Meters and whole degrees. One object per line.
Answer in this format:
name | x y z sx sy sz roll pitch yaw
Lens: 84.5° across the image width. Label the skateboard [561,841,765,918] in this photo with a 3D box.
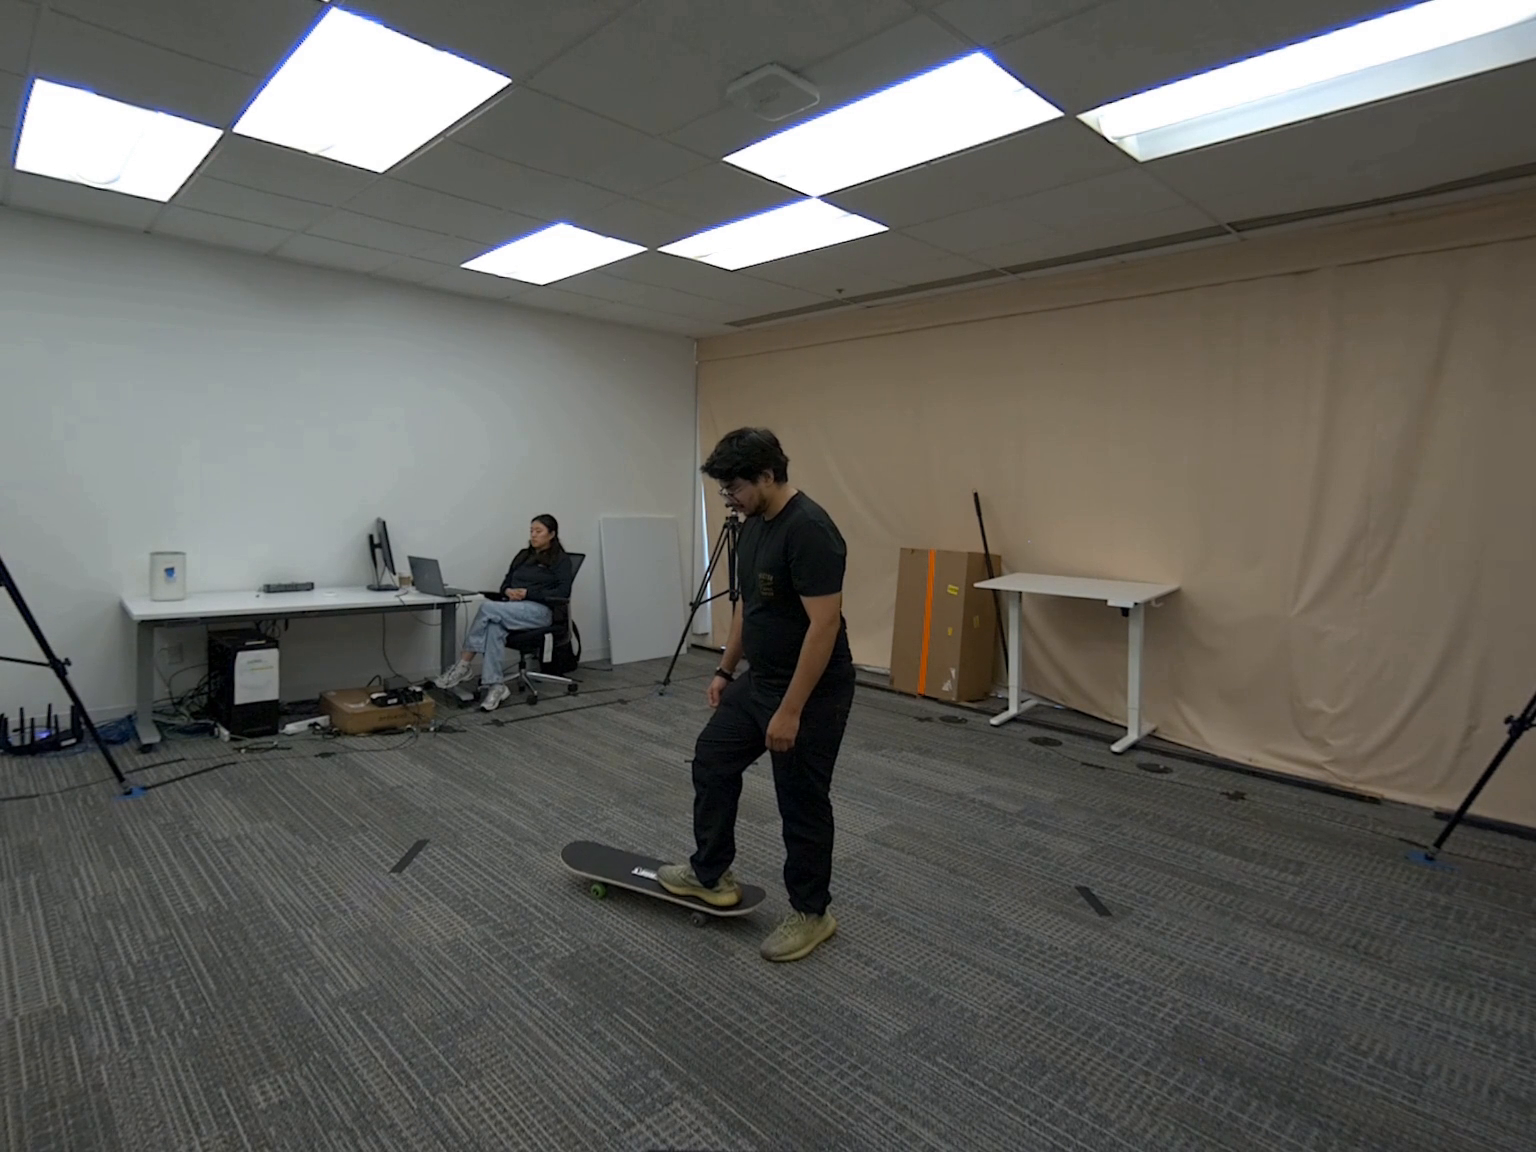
skateboard | -0.385 1.067 2.876 0.801 0.109 0.191 6 10 25
